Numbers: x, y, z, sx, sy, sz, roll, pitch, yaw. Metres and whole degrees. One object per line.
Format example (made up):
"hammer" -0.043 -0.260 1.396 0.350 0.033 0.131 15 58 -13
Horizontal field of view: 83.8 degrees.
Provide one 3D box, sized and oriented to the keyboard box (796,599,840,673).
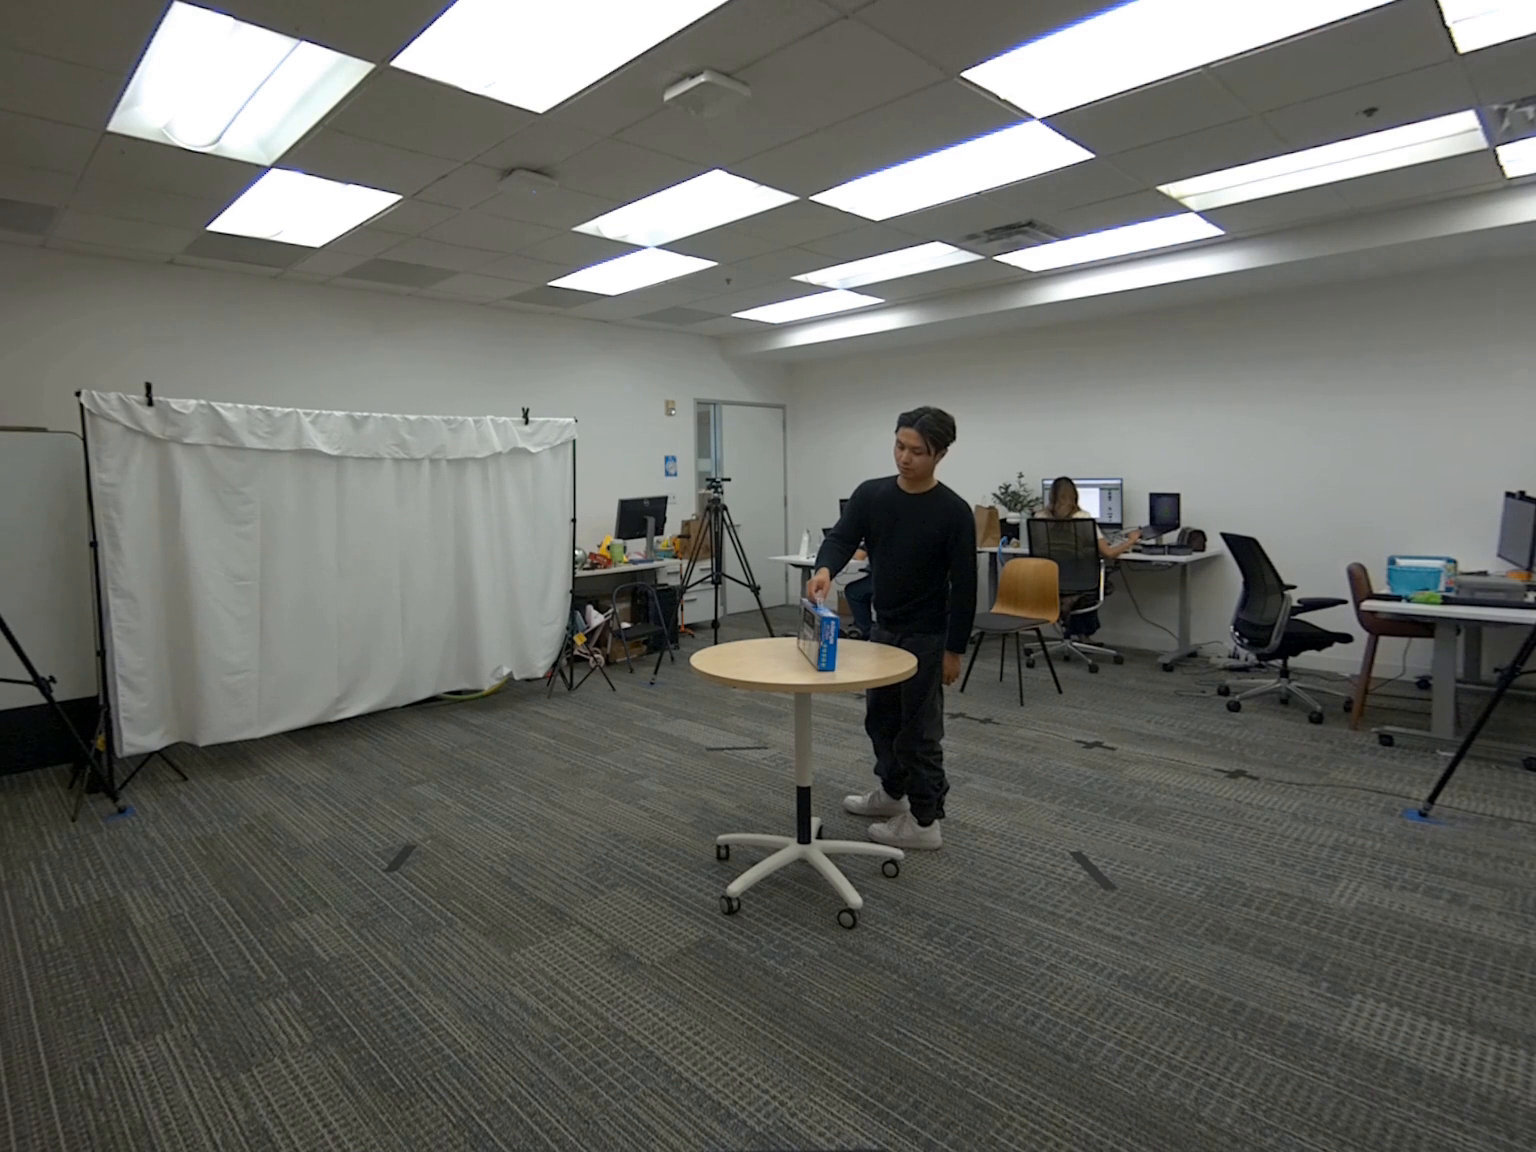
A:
"keyboard box" 0.173 0.192 2.892 0.059 0.175 0.440 4 5 -6
